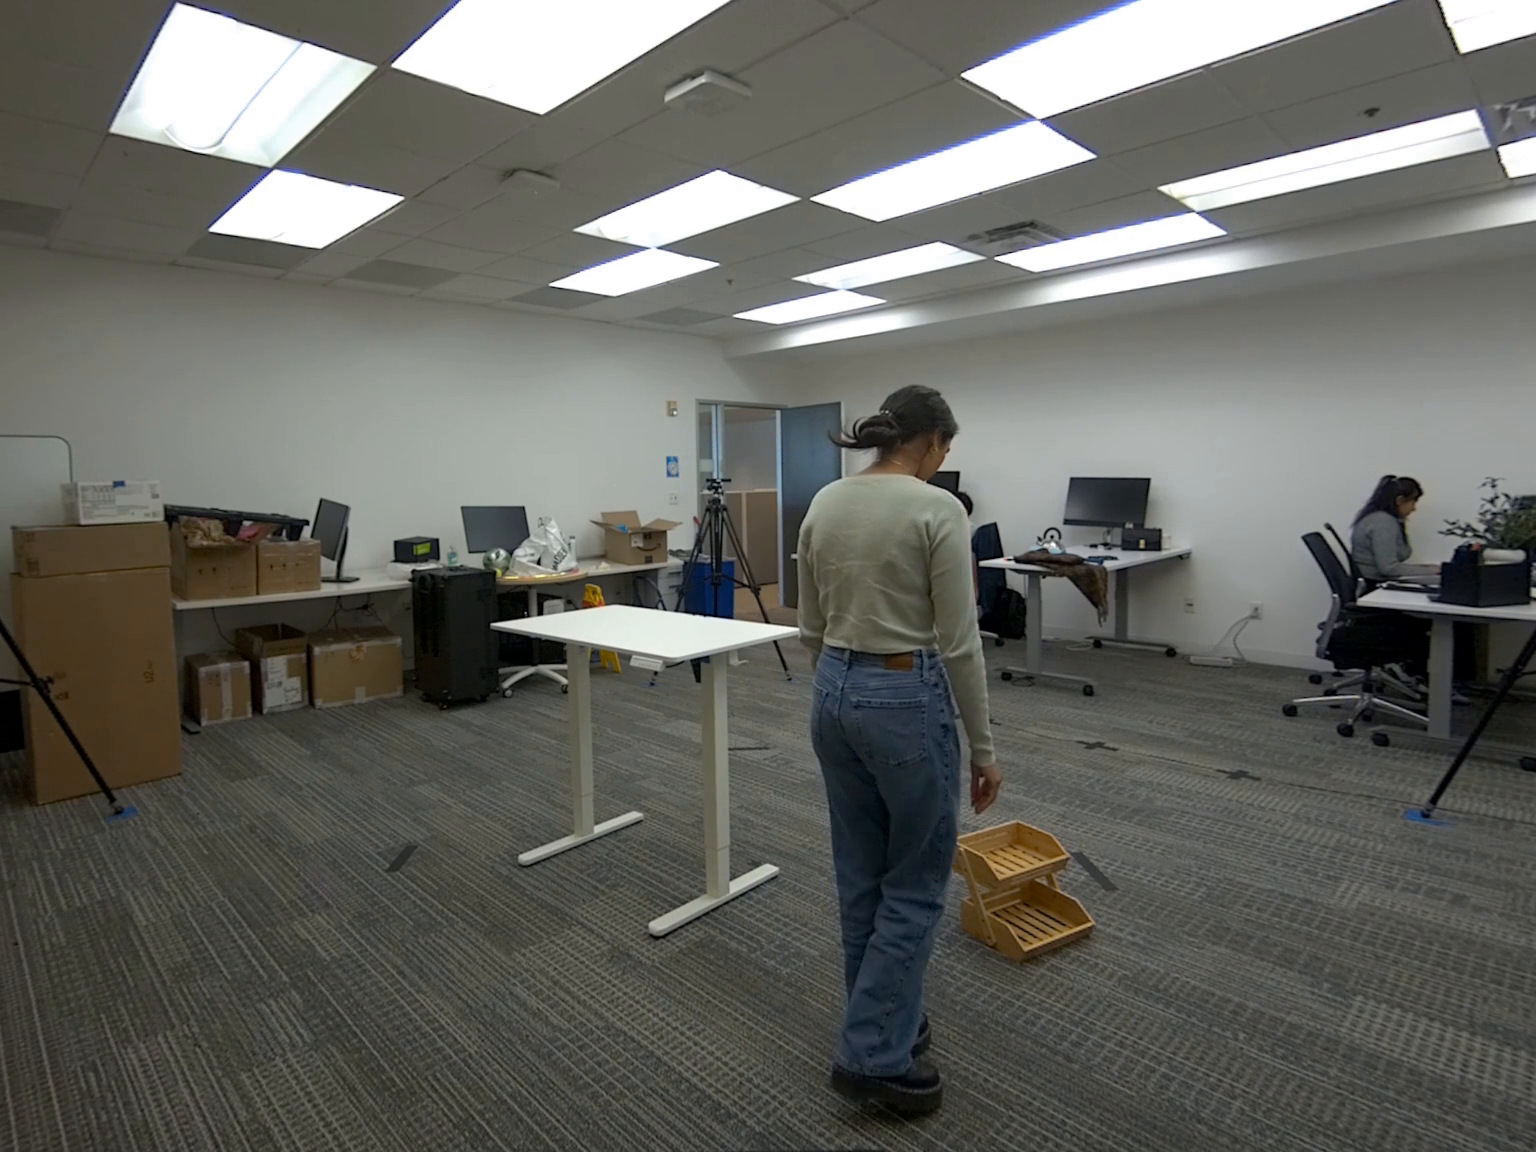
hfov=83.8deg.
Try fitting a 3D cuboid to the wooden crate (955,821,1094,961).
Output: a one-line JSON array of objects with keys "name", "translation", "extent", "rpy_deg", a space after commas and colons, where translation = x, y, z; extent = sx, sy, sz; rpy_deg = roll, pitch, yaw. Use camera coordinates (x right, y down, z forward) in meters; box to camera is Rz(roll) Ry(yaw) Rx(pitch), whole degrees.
[{"name": "wooden crate", "translation": [0.780, 0.953, 2.611], "extent": [0.317, 0.272, 0.310], "rpy_deg": [-5, 6, -31]}]
